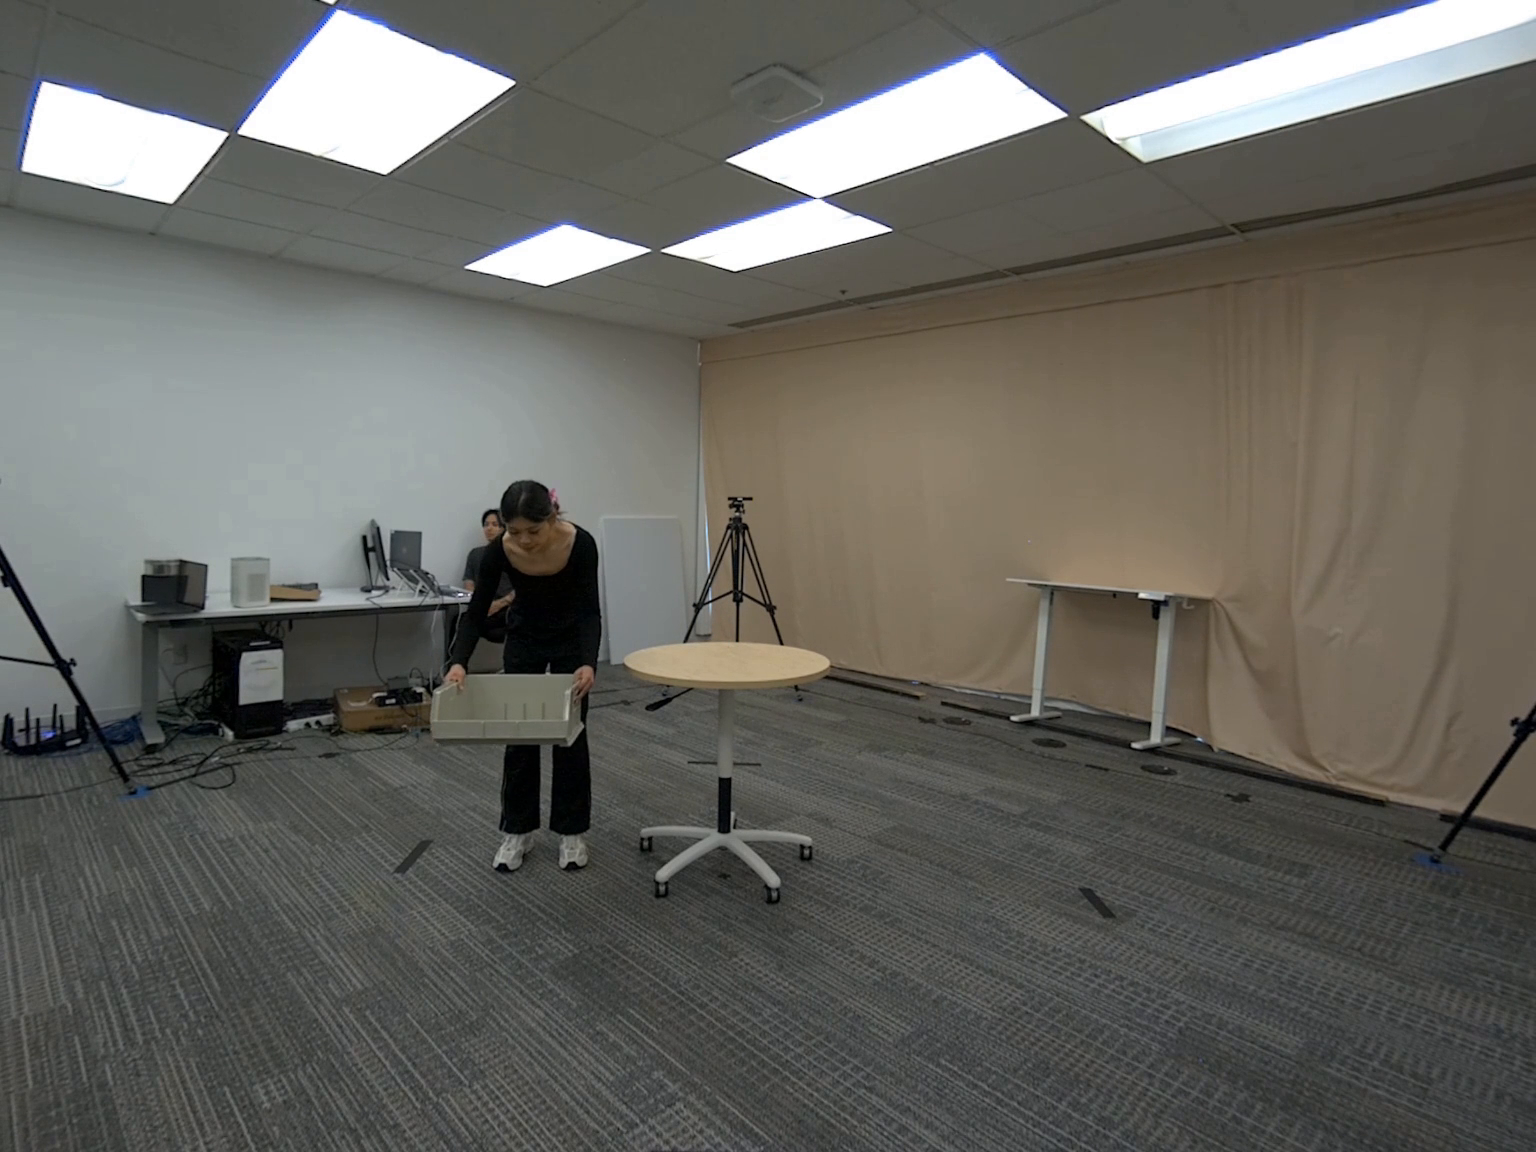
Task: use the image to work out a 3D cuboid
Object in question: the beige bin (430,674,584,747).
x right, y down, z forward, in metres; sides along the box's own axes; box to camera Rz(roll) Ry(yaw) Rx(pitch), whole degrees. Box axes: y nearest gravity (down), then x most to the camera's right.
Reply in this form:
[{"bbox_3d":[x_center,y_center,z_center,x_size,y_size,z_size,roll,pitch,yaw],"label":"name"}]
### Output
[{"bbox_3d":[-0.838,0.442,2.728,0.421,0.189,0.378,0,1,-3],"label":"beige bin"}]
